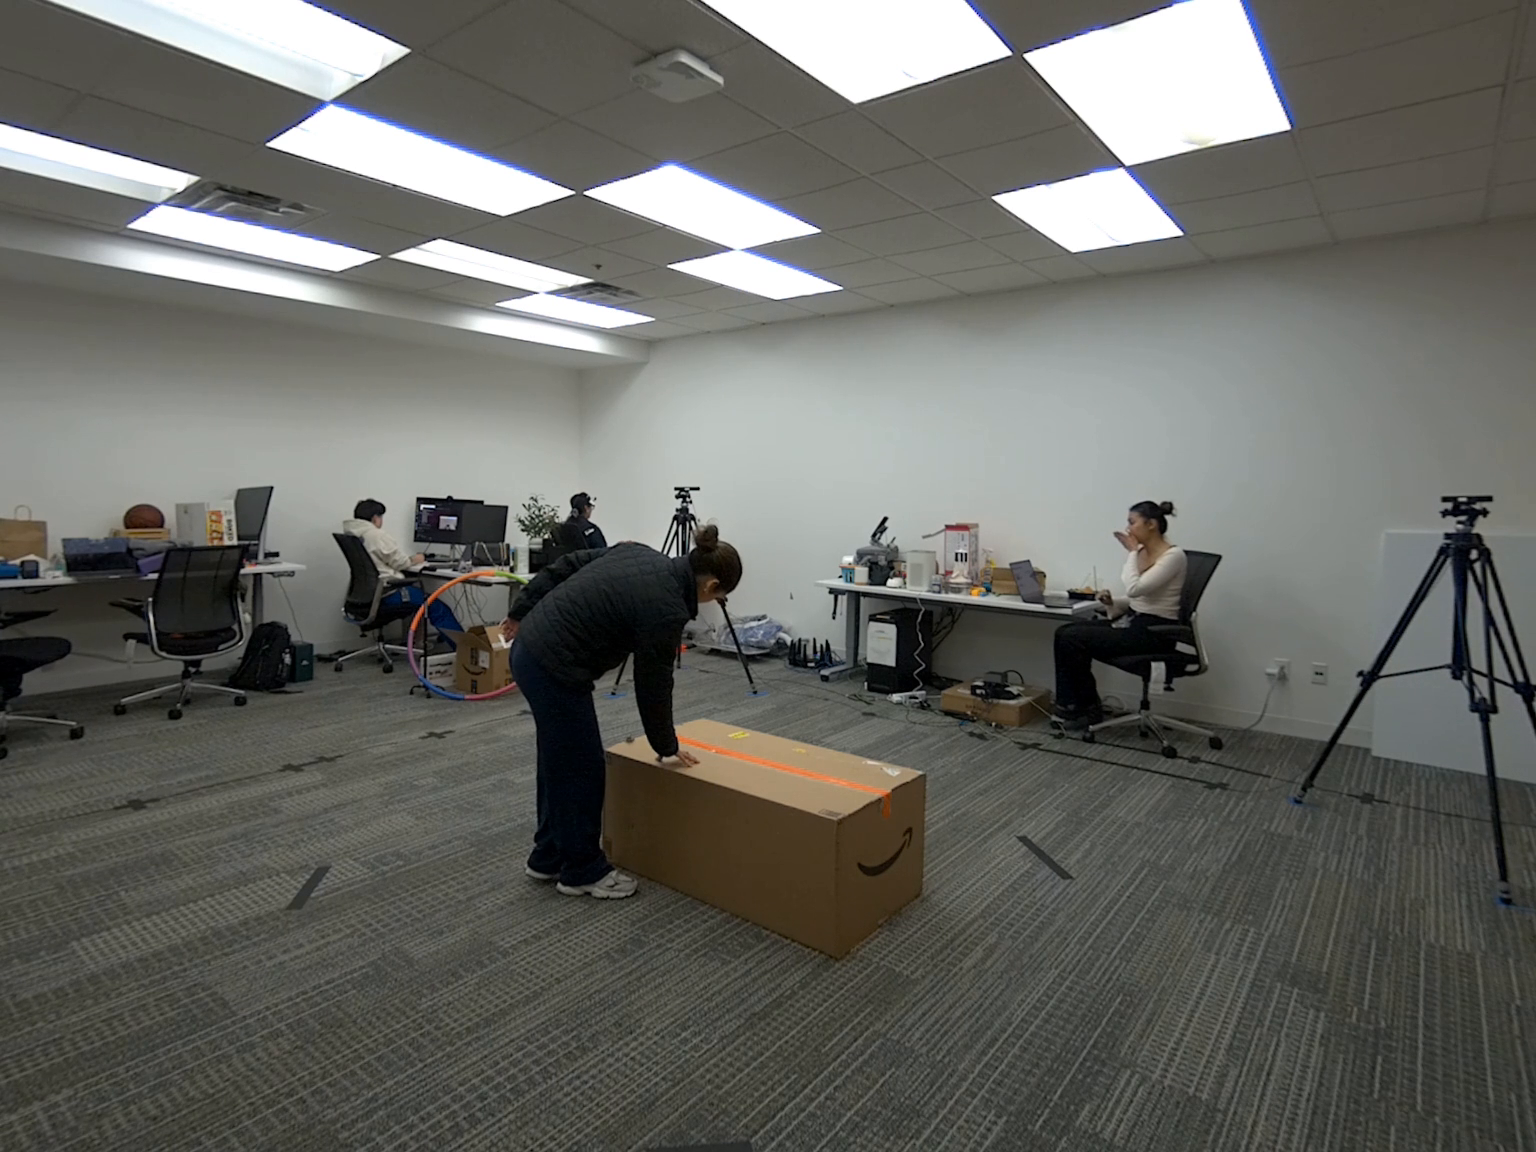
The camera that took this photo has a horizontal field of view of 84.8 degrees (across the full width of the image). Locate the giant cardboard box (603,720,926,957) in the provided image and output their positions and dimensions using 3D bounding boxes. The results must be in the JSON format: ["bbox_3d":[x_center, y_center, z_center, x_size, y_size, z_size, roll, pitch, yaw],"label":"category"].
[{"bbox_3d":[-0.022,0.866,3.059,1.062,0.445,0.567,6,8,38],"label":"giant cardboard box"}]
